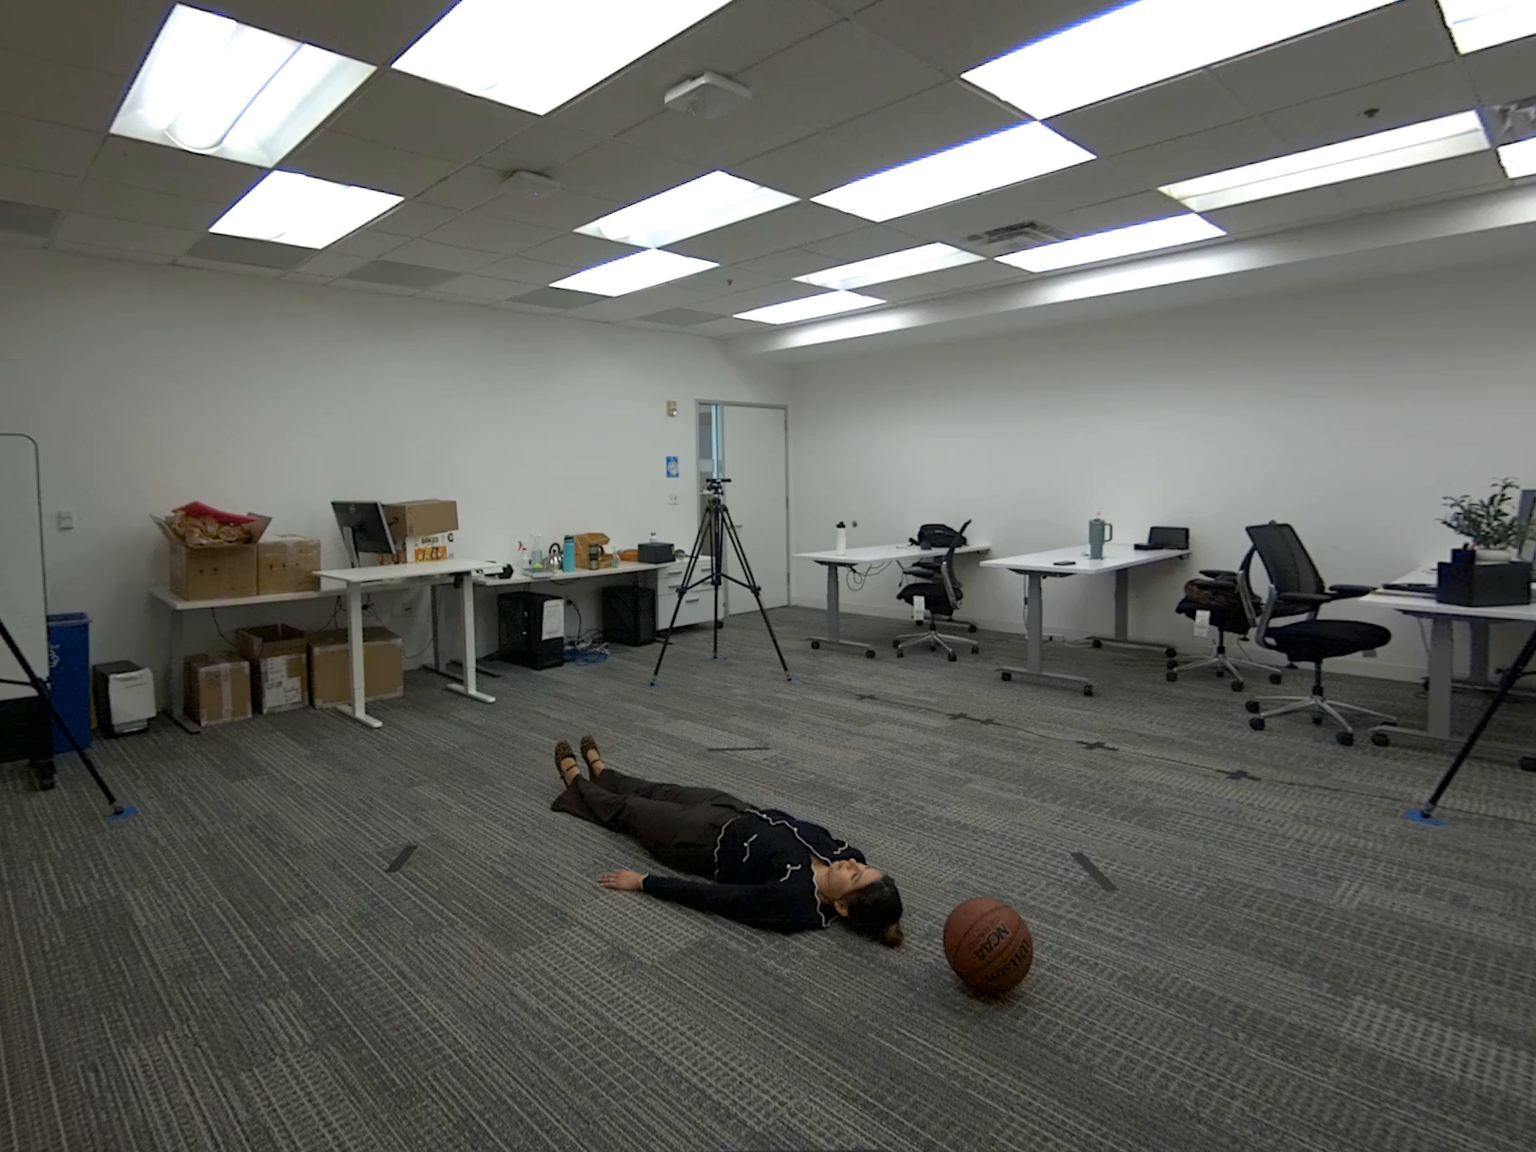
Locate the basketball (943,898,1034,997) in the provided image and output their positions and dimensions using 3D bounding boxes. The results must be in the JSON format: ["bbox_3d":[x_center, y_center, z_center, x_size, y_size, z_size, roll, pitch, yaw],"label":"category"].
[{"bbox_3d":[0.607,1.004,2.326,0.236,0.235,0.237,-1,5,-2],"label":"basketball"}]
